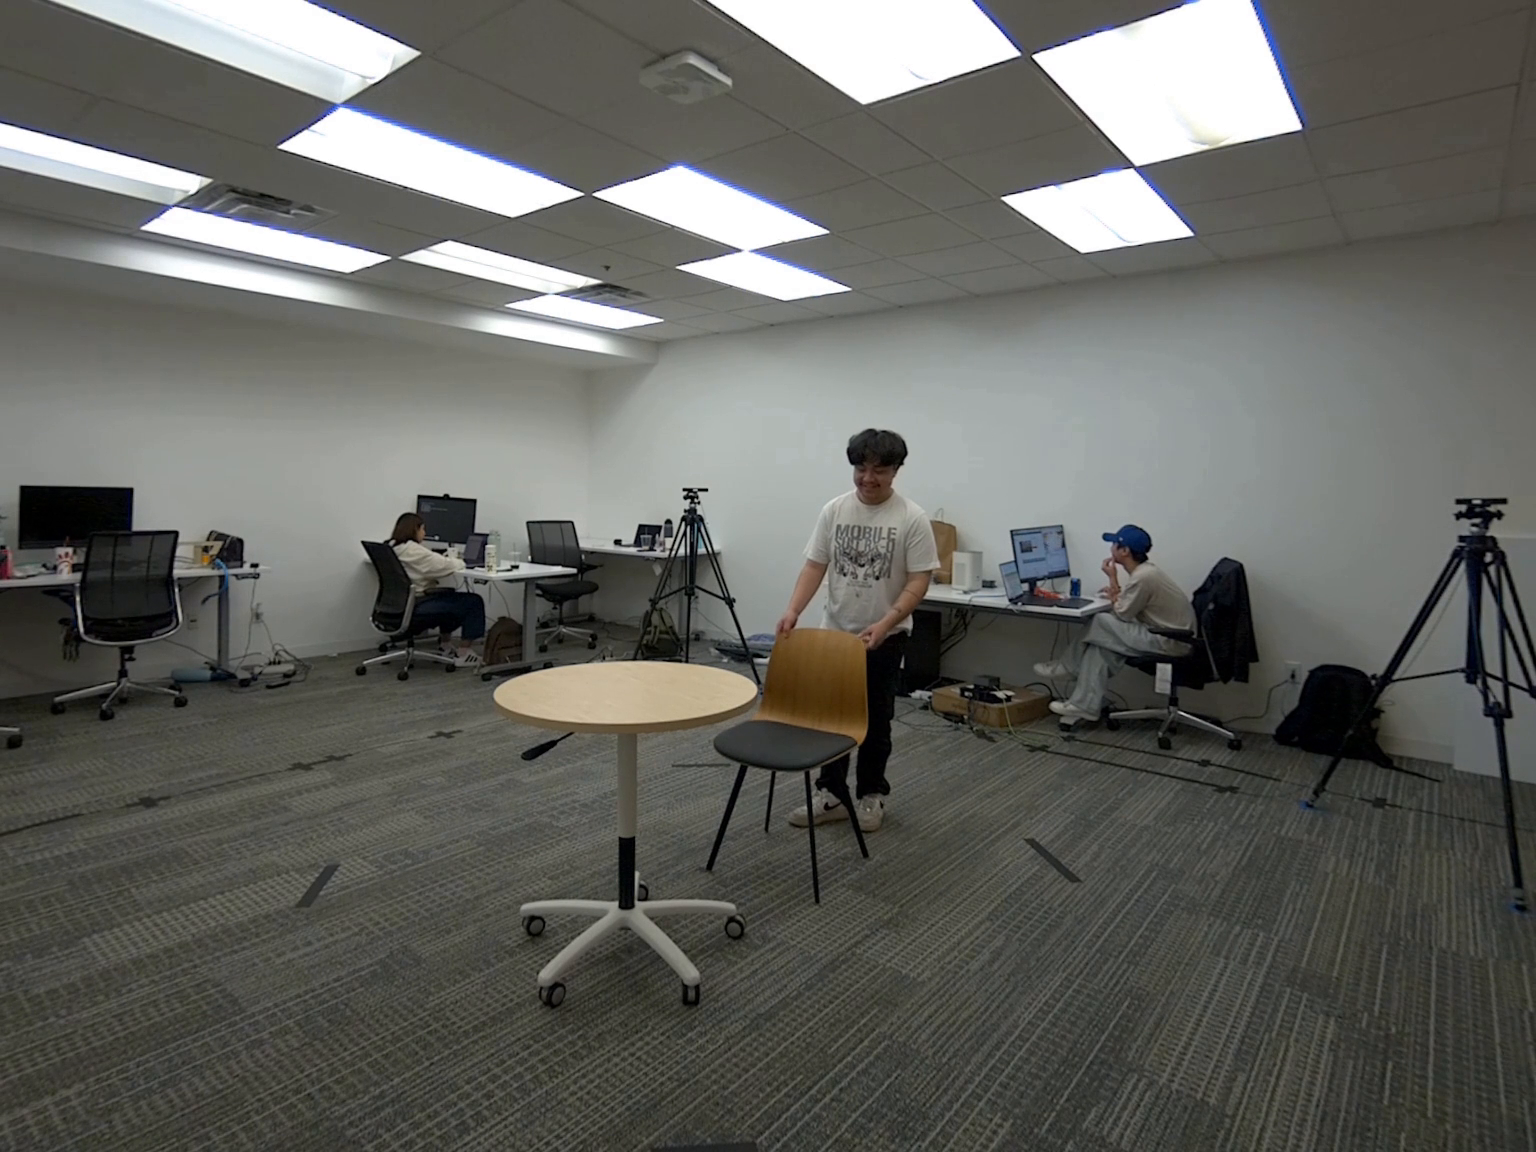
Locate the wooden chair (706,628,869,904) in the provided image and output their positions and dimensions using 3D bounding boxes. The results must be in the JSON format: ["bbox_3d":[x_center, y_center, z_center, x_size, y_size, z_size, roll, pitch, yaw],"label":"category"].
[{"bbox_3d":[0.076,0.643,3.137,0.493,0.878,0.507,4,0,31],"label":"wooden chair"}]
